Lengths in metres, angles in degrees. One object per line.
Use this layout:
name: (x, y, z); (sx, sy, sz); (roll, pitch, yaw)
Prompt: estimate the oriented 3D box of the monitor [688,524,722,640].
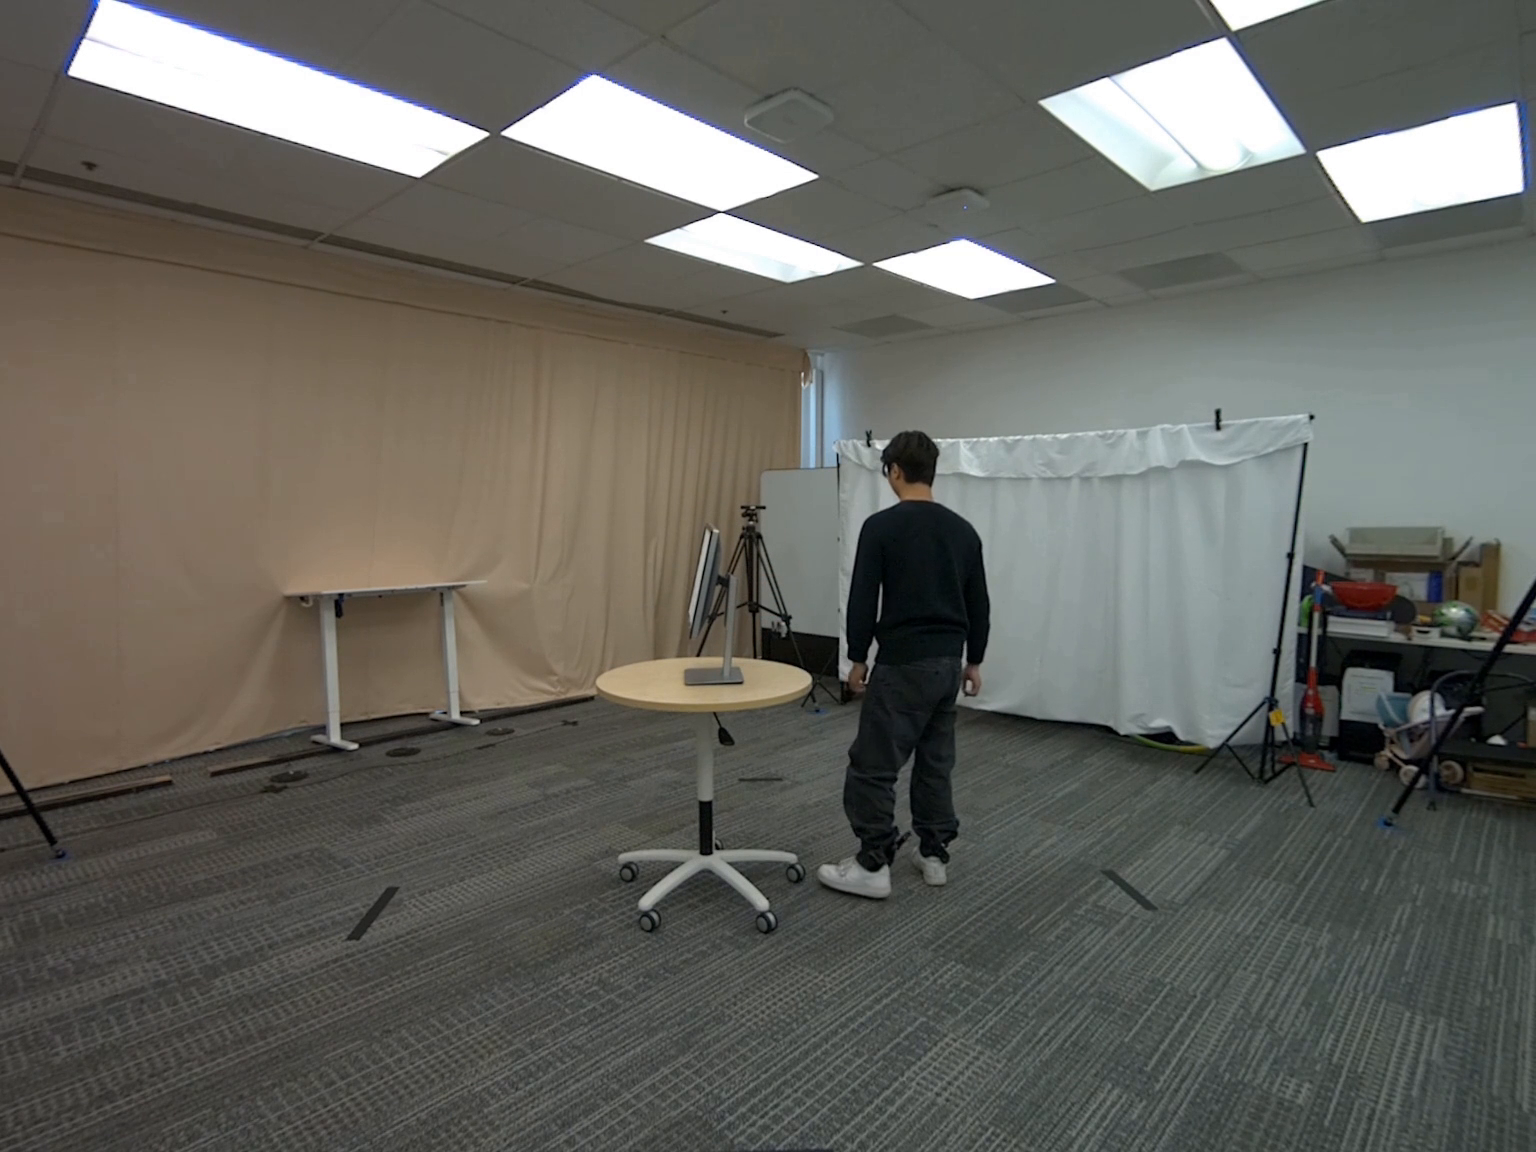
monitor: (-0.187, 0.106, 2.993); (0.186, 0.522, 0.543); (-1, 3, -6)
